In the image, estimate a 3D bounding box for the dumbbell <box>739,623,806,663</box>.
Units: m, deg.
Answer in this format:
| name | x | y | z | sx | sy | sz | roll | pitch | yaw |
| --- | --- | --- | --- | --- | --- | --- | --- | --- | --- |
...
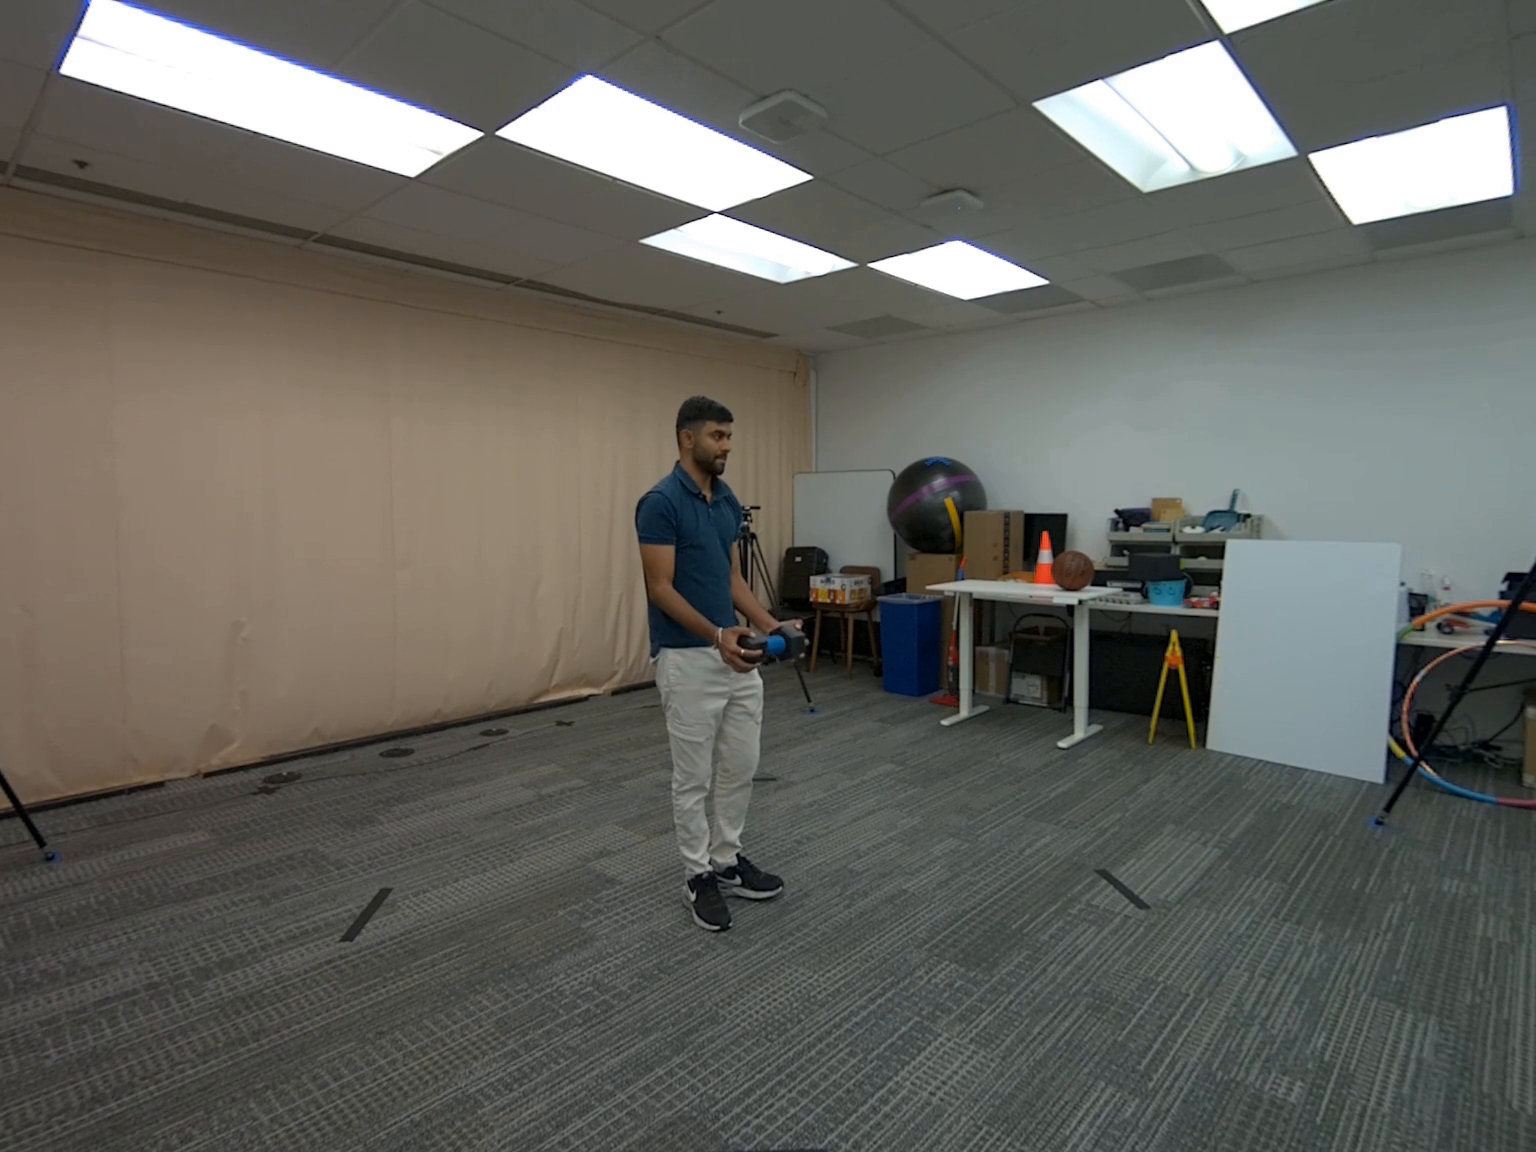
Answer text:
| name | x | y | z | sx | sy | sz | roll | pitch | yaw |
| --- | --- | --- | --- | --- | --- | --- | --- | --- | --- |
| dumbbell | -0.006 | 0.218 | 2.693 | 0.125 | 0.110 | 0.285 | -29 | -15 | 35 |
